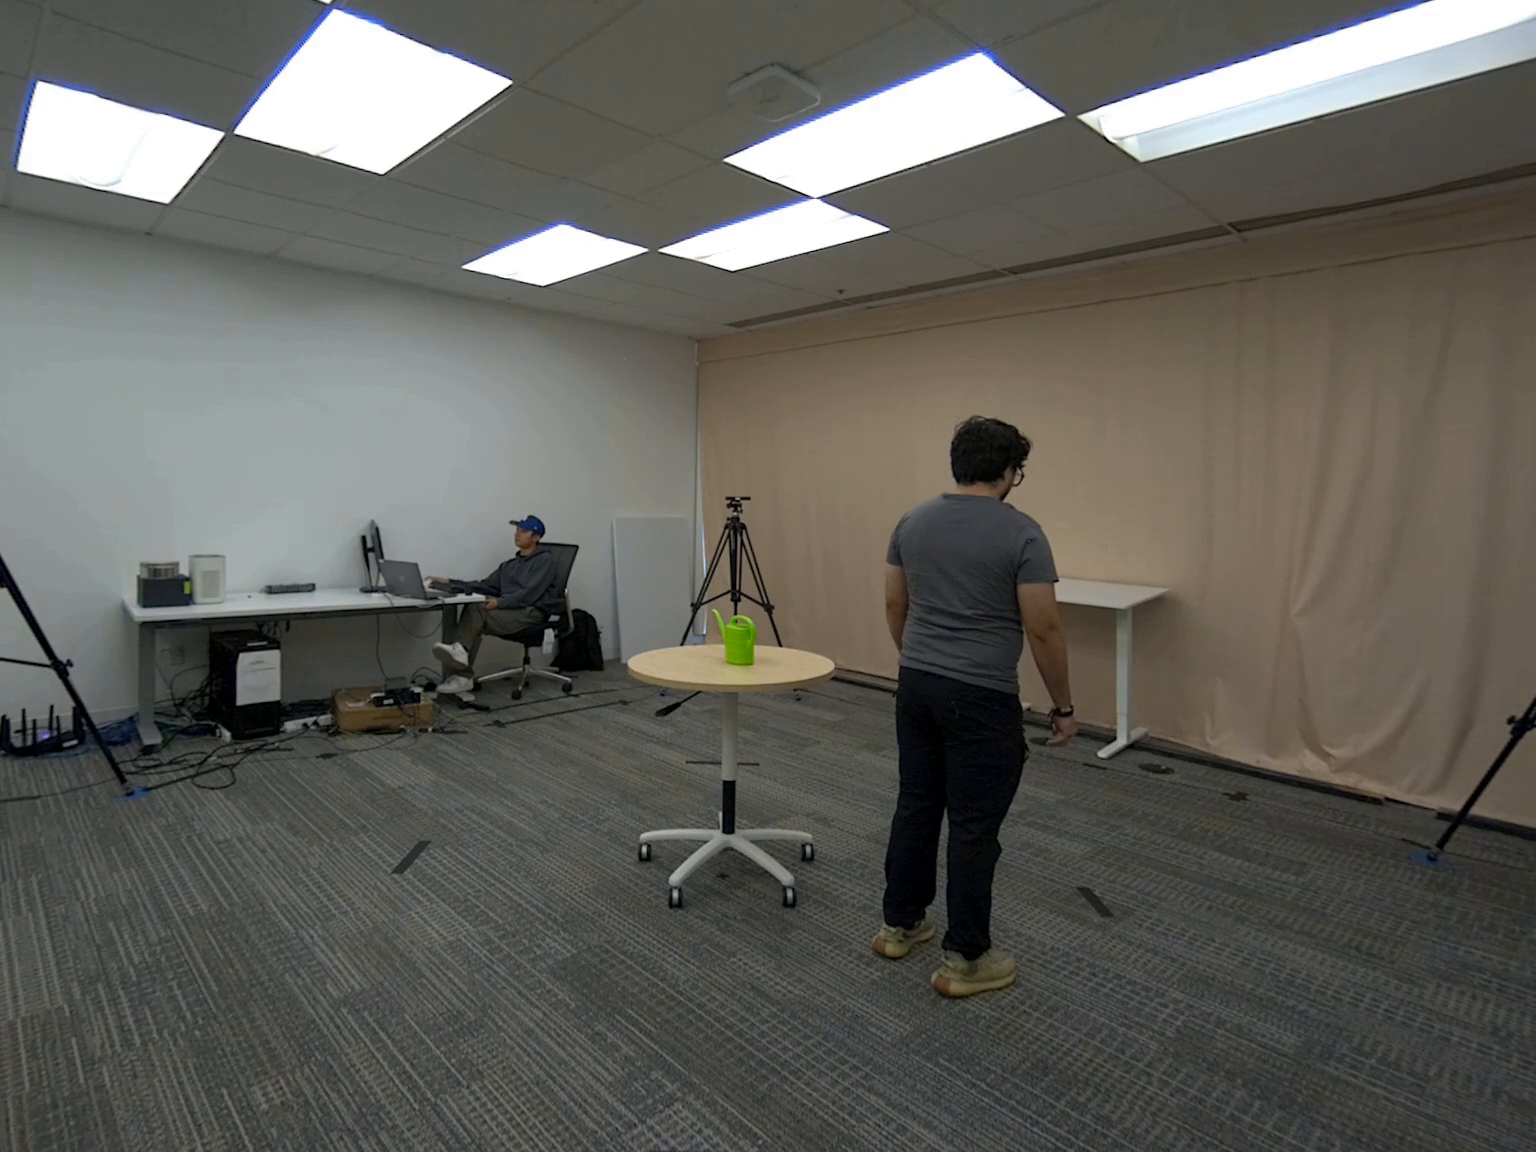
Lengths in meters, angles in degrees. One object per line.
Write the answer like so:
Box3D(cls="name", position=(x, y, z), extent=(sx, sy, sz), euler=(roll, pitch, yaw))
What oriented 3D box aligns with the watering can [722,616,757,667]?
Box3D(cls="watering can", position=(-0.131, 0.231, 3.157), extent=(0.096, 0.176, 0.283), euler=(0, 5, -22))
